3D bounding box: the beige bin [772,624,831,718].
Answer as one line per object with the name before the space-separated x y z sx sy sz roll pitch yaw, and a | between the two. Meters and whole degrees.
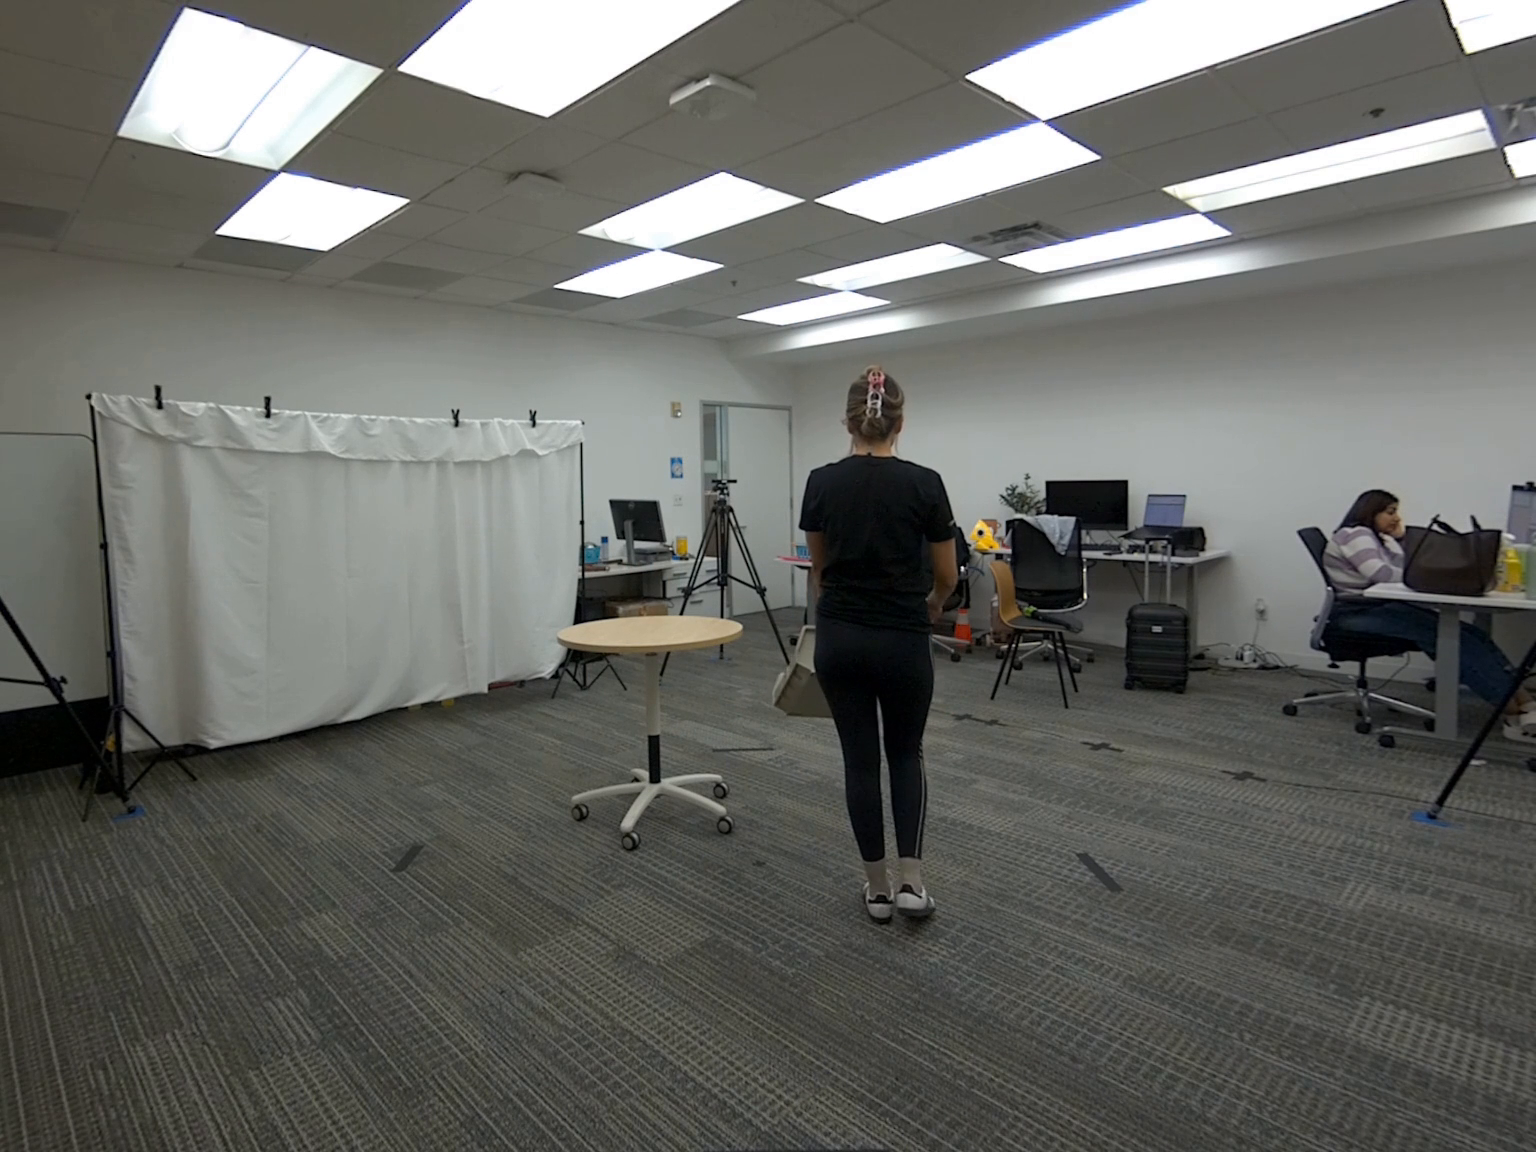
beige bin | 0.251 0.366 3.166 0.374 0.194 0.415 5 -33 -9
